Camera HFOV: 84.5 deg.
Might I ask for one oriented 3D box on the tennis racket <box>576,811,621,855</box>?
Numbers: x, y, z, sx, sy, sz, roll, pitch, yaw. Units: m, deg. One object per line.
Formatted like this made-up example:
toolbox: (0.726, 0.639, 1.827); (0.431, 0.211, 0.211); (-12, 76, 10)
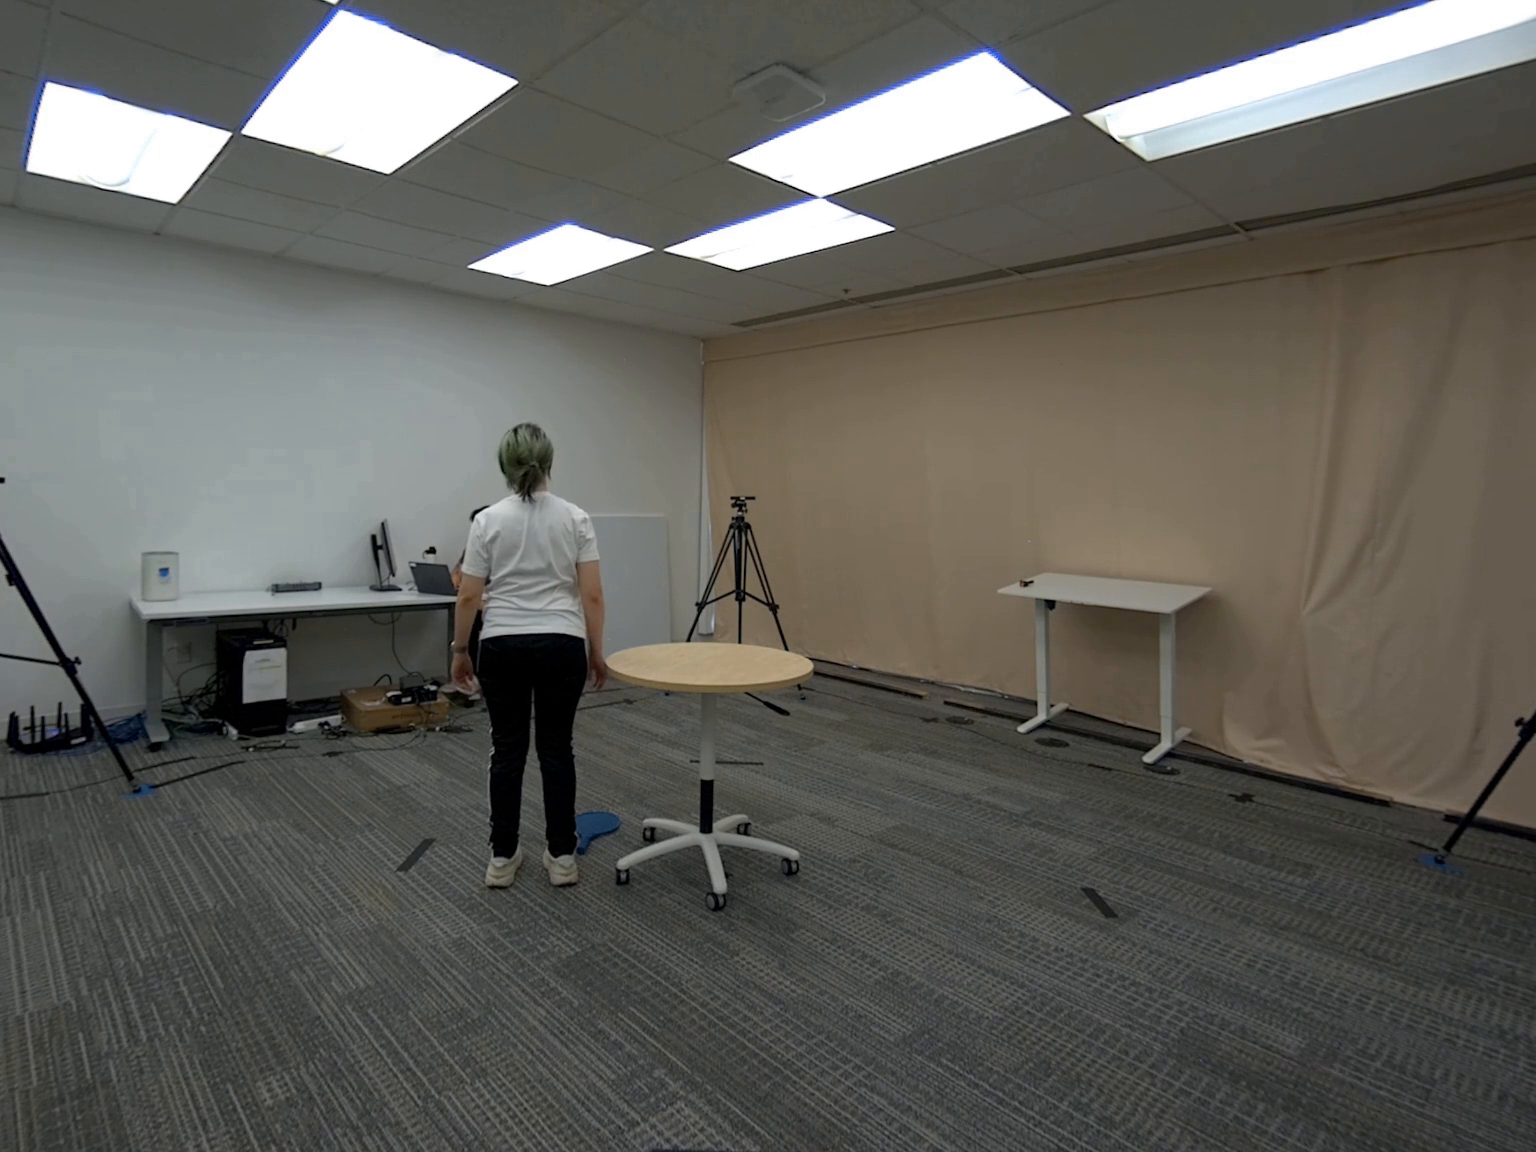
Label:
tennis racket: (-0.733, 1.045, 3.462); (0.214, 0.032, 0.433); (2, 4, 0)
